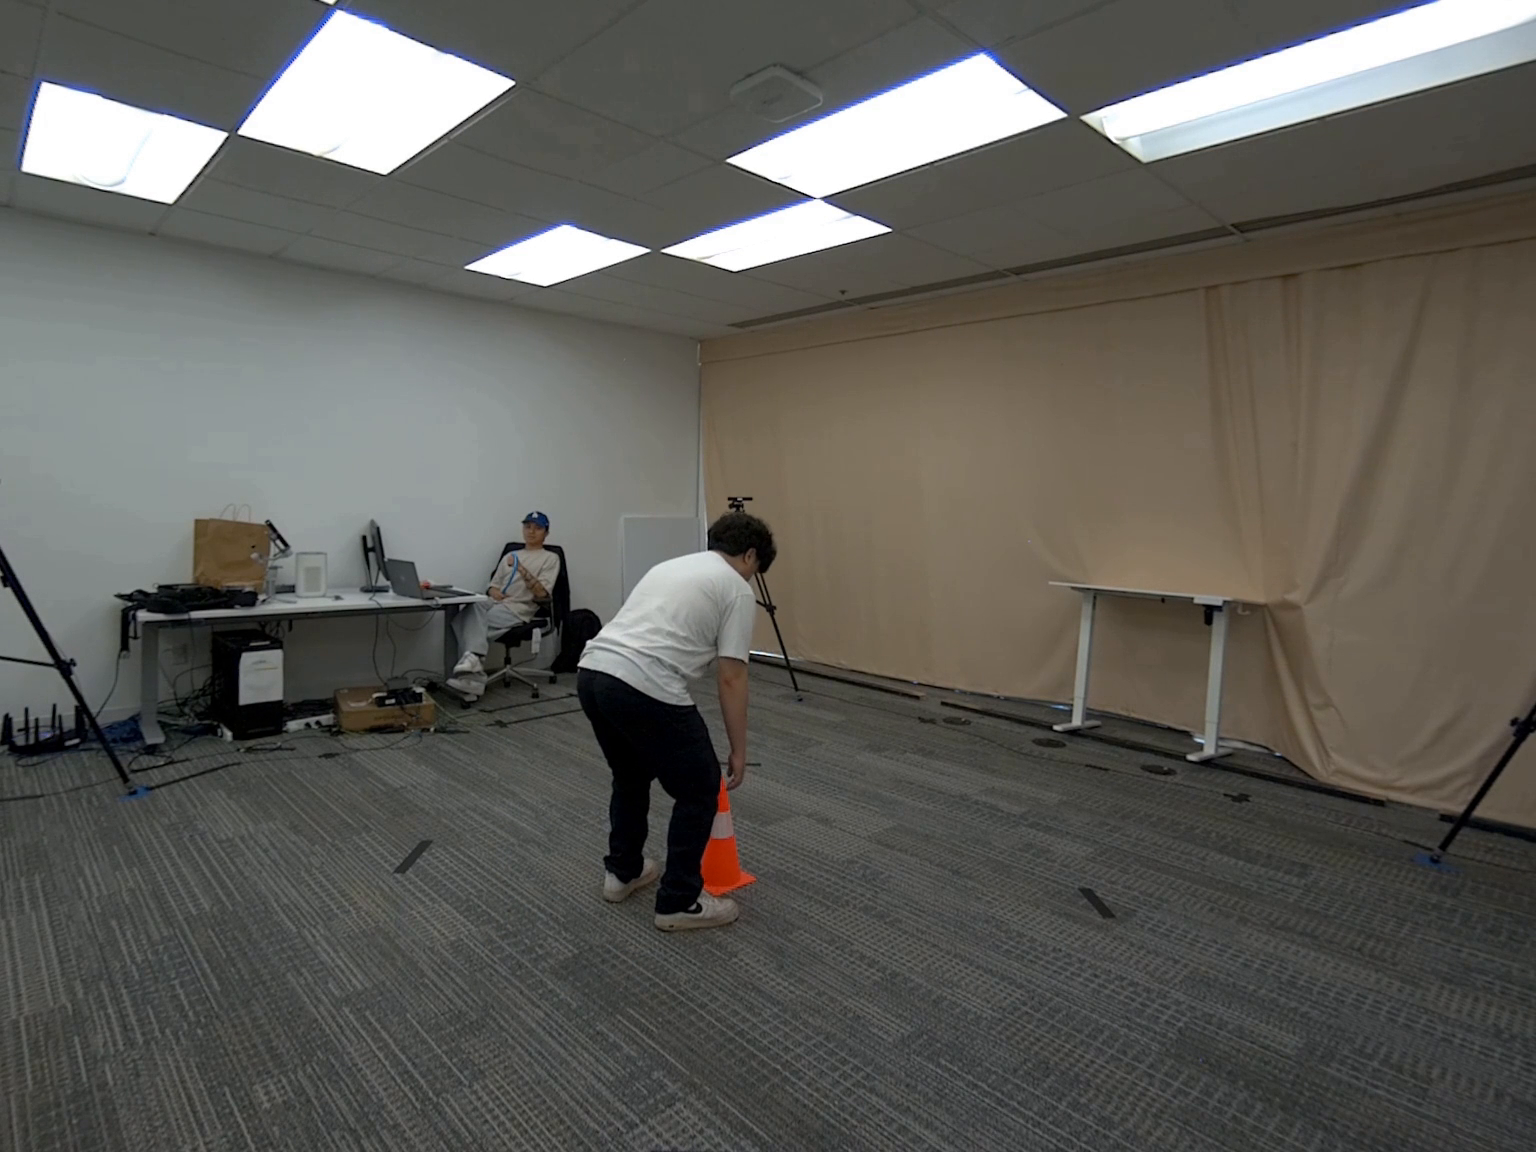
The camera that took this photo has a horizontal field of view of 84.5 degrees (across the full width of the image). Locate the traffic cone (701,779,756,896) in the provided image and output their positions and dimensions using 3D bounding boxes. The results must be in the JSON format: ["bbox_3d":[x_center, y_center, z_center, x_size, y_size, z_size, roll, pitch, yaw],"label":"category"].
[{"bbox_3d":[-0.185,0.927,3.081,0.210,0.383,0.199,2,3,40],"label":"traffic cone"}]
